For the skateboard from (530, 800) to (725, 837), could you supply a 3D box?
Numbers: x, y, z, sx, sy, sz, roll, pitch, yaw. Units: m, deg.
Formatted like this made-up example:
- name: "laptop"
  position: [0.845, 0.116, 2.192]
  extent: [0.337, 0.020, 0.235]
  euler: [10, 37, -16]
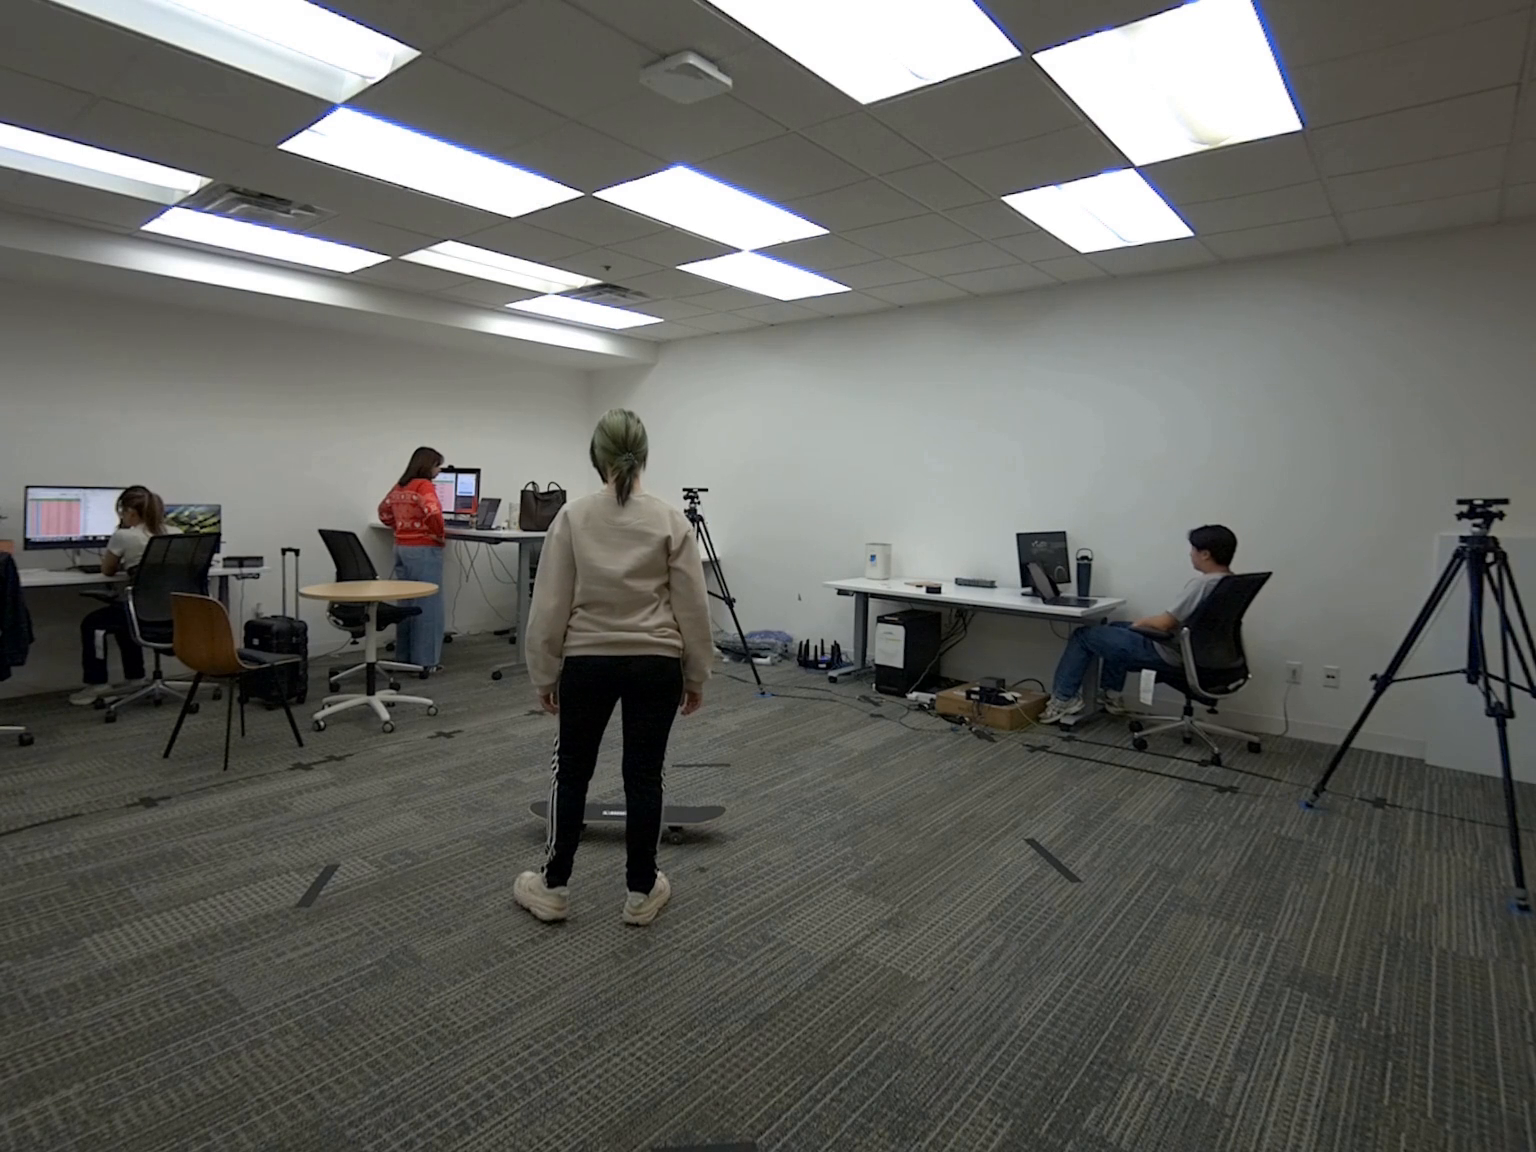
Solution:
- name: "skateboard"
  position: [-0.574, 0.977, 3.405]
  extent: [0.785, 0.110, 0.194]
  euler: [1, 4, 0]
